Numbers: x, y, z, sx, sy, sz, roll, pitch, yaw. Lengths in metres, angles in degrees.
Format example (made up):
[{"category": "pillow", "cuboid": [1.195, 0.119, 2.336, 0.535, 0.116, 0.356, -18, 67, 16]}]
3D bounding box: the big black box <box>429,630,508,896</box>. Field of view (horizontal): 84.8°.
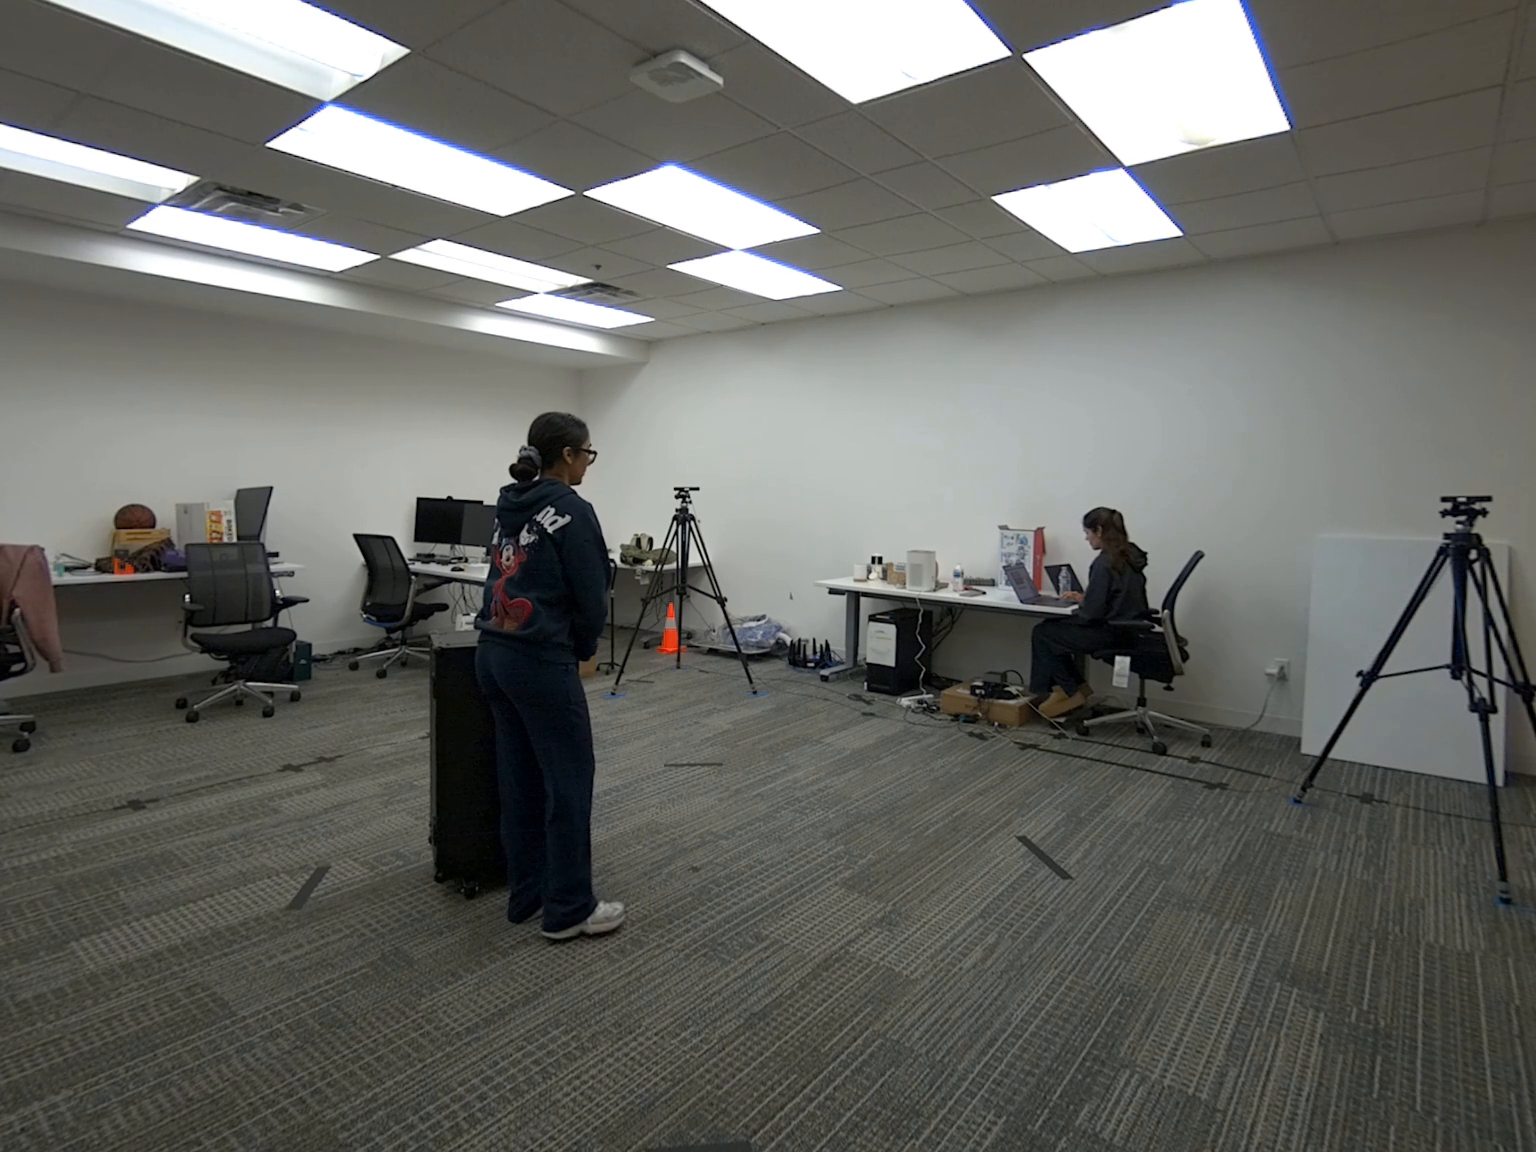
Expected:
[{"category": "big black box", "cuboid": [-0.968, 0.638, 3.052, 0.510, 0.860, 0.405, -1, 2, -22]}]
